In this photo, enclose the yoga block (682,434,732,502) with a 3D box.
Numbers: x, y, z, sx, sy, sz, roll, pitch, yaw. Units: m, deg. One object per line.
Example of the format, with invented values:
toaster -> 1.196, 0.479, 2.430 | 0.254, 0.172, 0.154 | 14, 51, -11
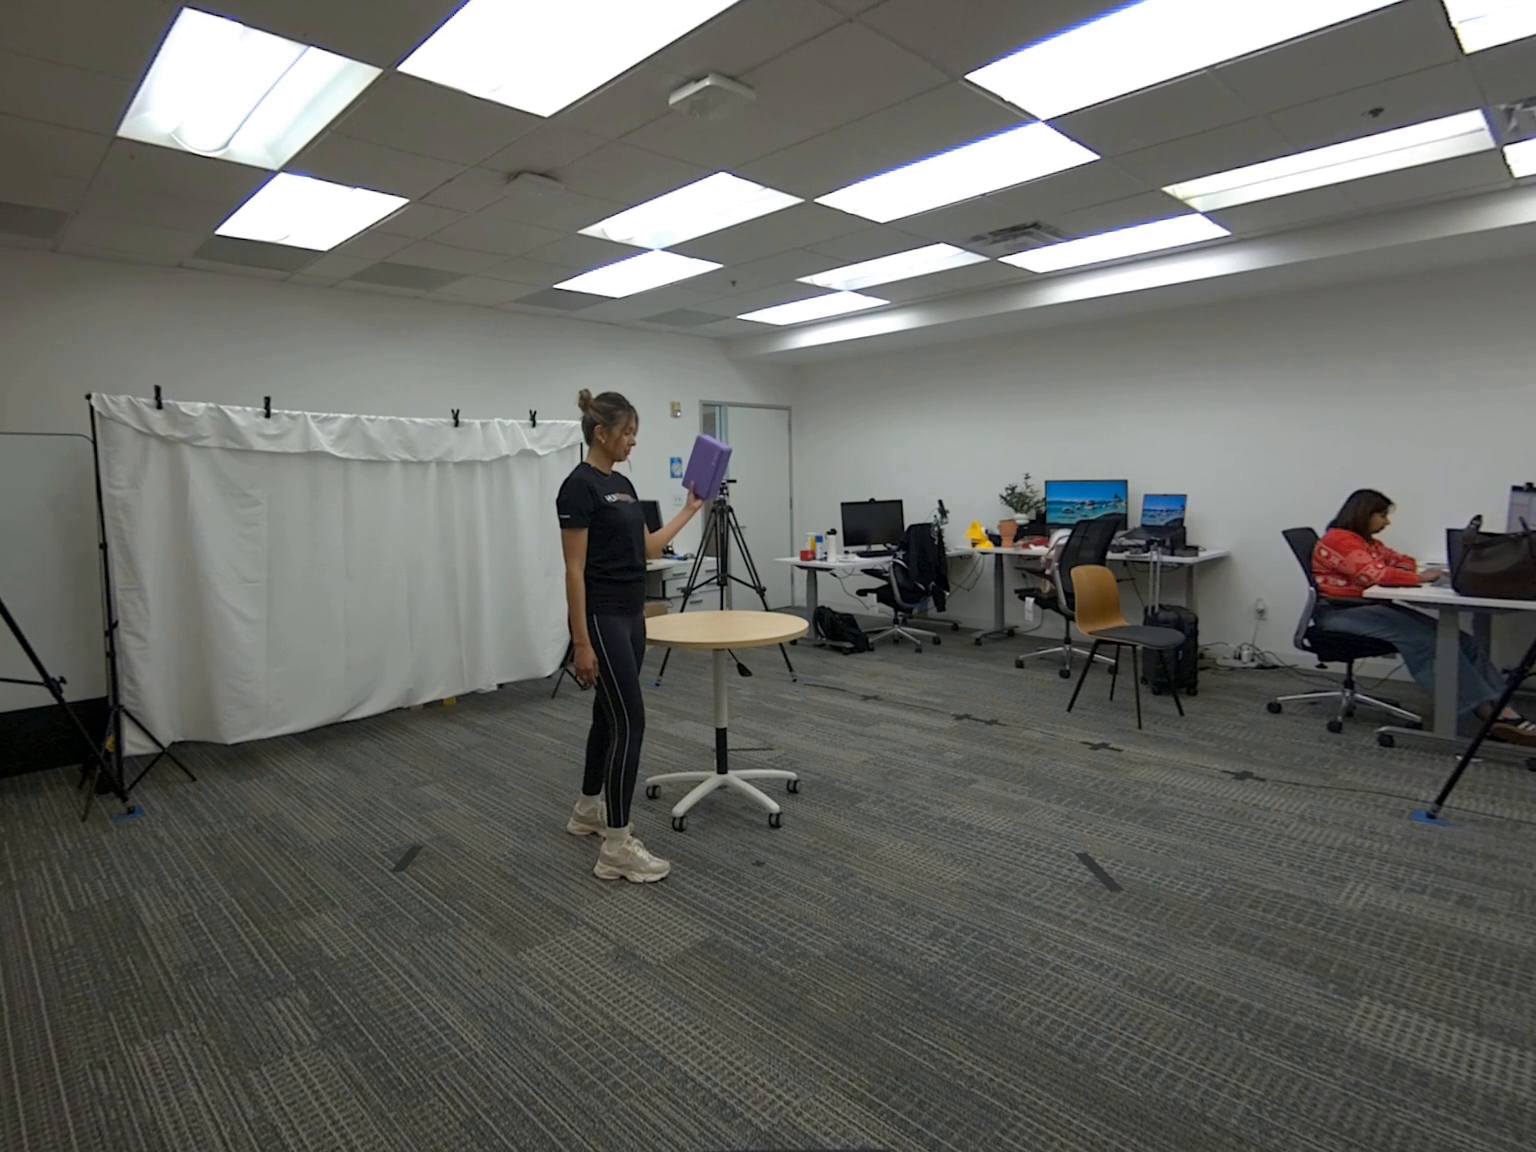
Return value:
yoga block -> -0.252, -0.444, 3.488 | 0.154, 0.227, 0.075 | 31, 23, 28
